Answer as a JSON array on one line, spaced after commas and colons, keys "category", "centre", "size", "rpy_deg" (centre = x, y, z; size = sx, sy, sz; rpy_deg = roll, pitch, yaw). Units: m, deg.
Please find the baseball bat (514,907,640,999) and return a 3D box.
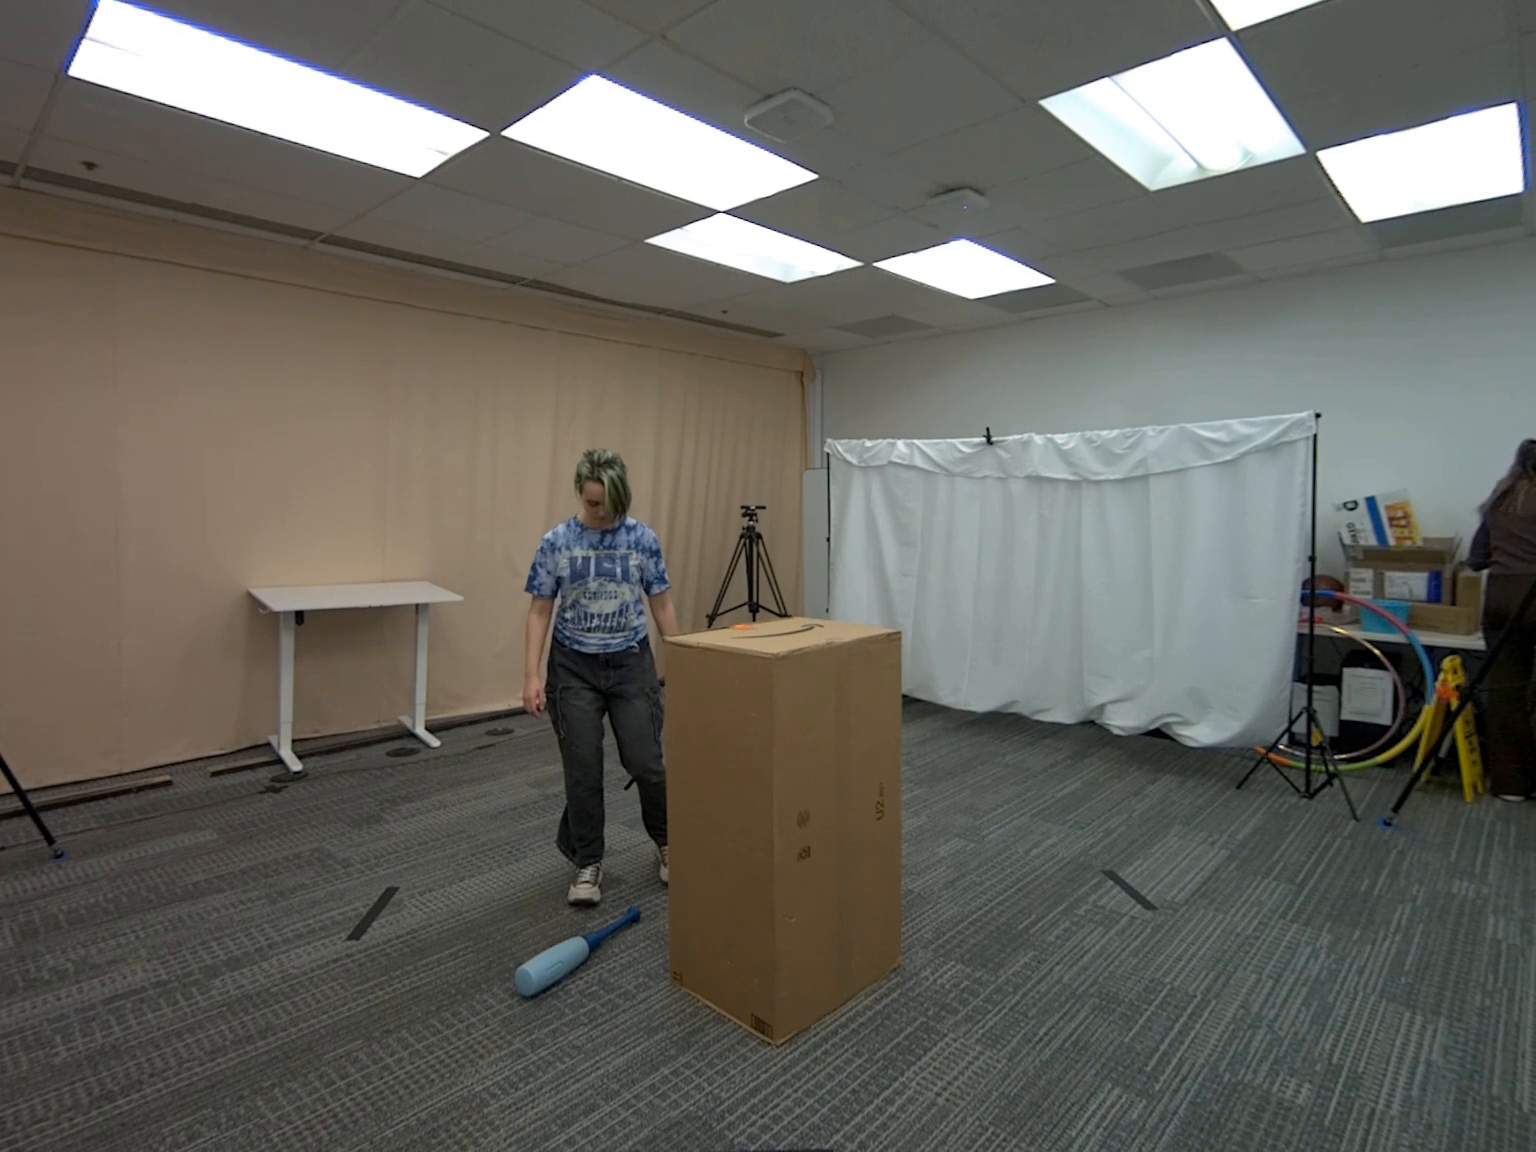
[{"category": "baseball bat", "centre": [-0.572, 1.166, 2.575], "size": [0.091, 0.089, 0.529], "rpy_deg": [2, 3, 25]}]
